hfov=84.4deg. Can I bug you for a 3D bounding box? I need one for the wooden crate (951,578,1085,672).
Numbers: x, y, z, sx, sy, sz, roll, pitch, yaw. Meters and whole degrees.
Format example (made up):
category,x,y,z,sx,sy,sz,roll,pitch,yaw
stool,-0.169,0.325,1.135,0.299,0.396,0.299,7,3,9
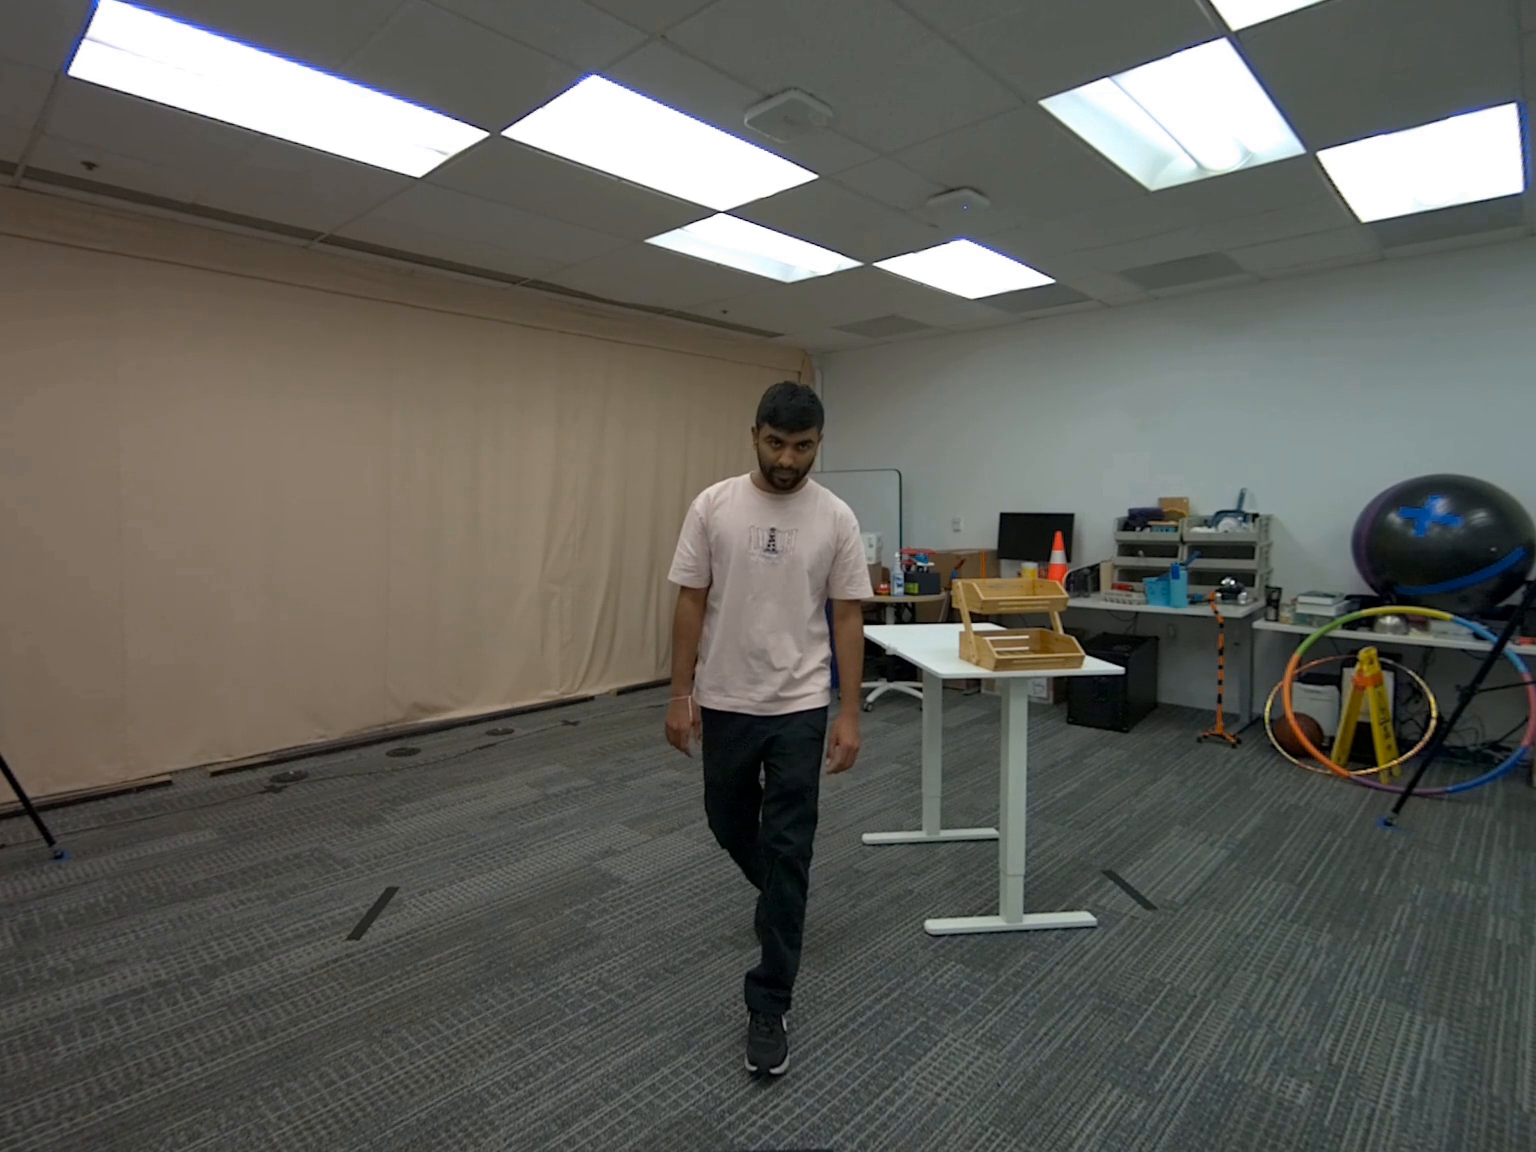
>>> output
category,x,y,z,sx,sy,sz,roll,pitch,yaw
wooden crate,0.821,0.153,2.723,0.321,0.273,0.306,-1,4,-11
